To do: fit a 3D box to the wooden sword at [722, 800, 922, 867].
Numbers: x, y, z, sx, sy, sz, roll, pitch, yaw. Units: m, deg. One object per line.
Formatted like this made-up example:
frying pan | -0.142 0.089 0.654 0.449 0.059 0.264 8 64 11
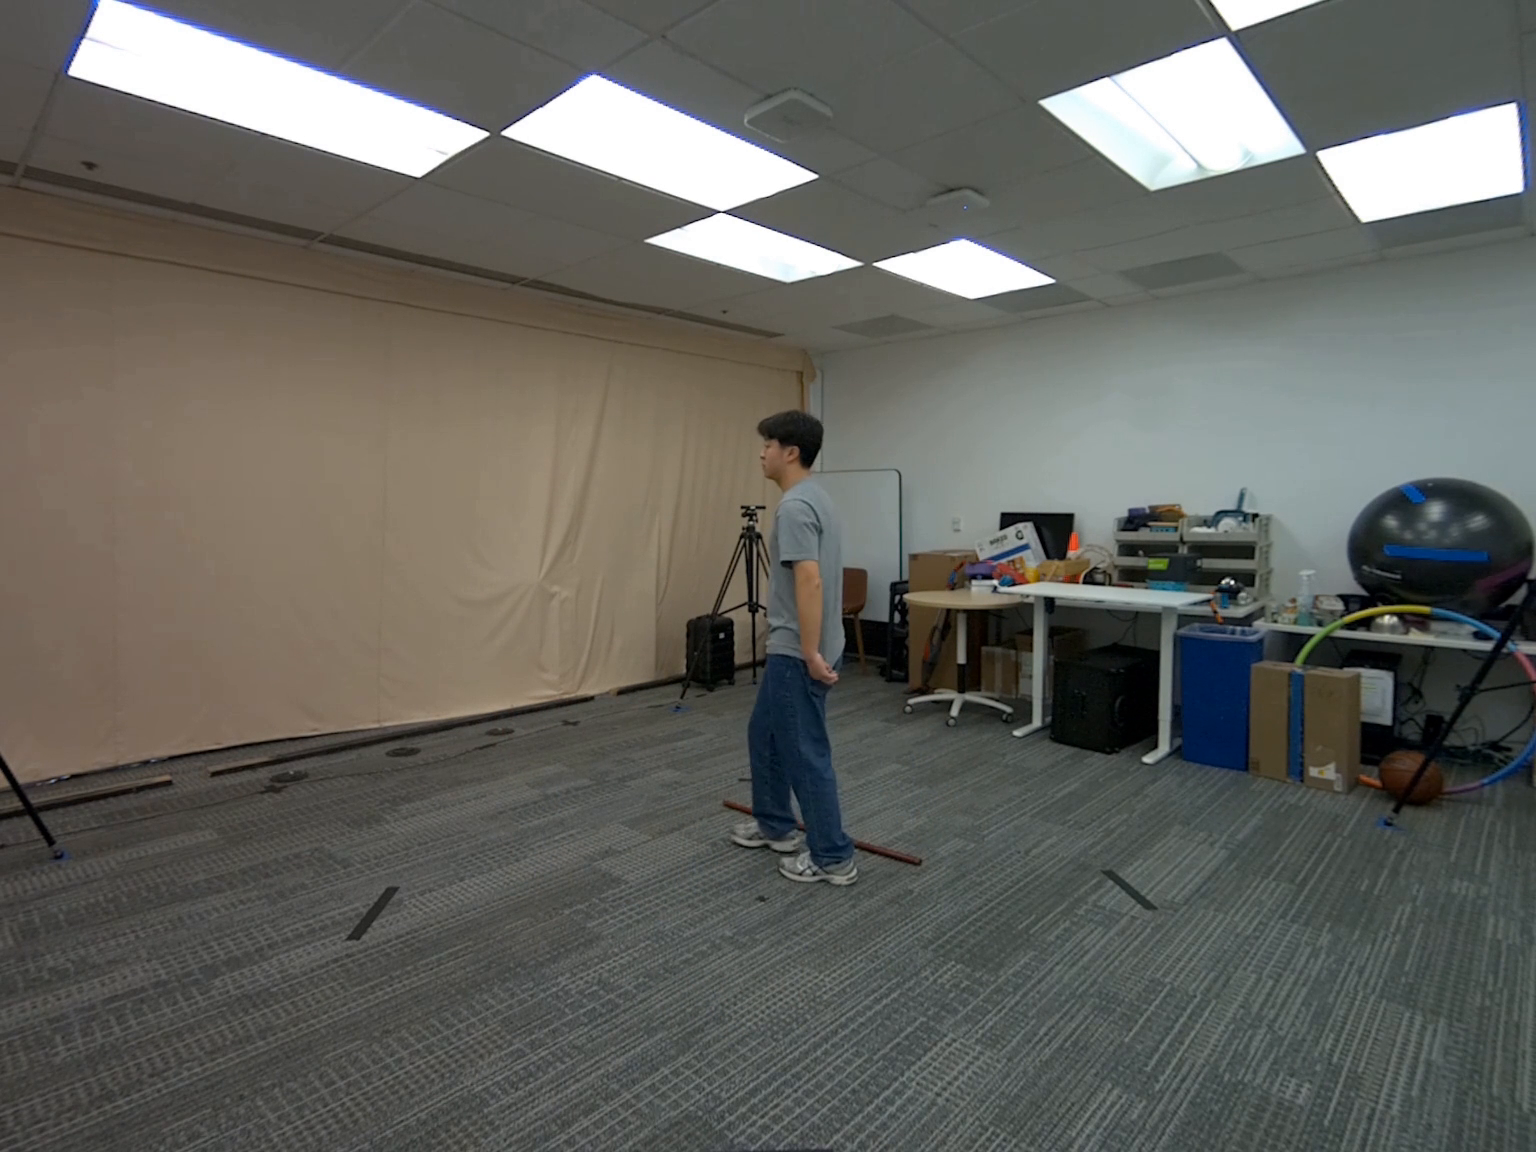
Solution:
wooden sword | 0.176 1.071 3.583 1.059 0.024 0.049 3 -1 41
